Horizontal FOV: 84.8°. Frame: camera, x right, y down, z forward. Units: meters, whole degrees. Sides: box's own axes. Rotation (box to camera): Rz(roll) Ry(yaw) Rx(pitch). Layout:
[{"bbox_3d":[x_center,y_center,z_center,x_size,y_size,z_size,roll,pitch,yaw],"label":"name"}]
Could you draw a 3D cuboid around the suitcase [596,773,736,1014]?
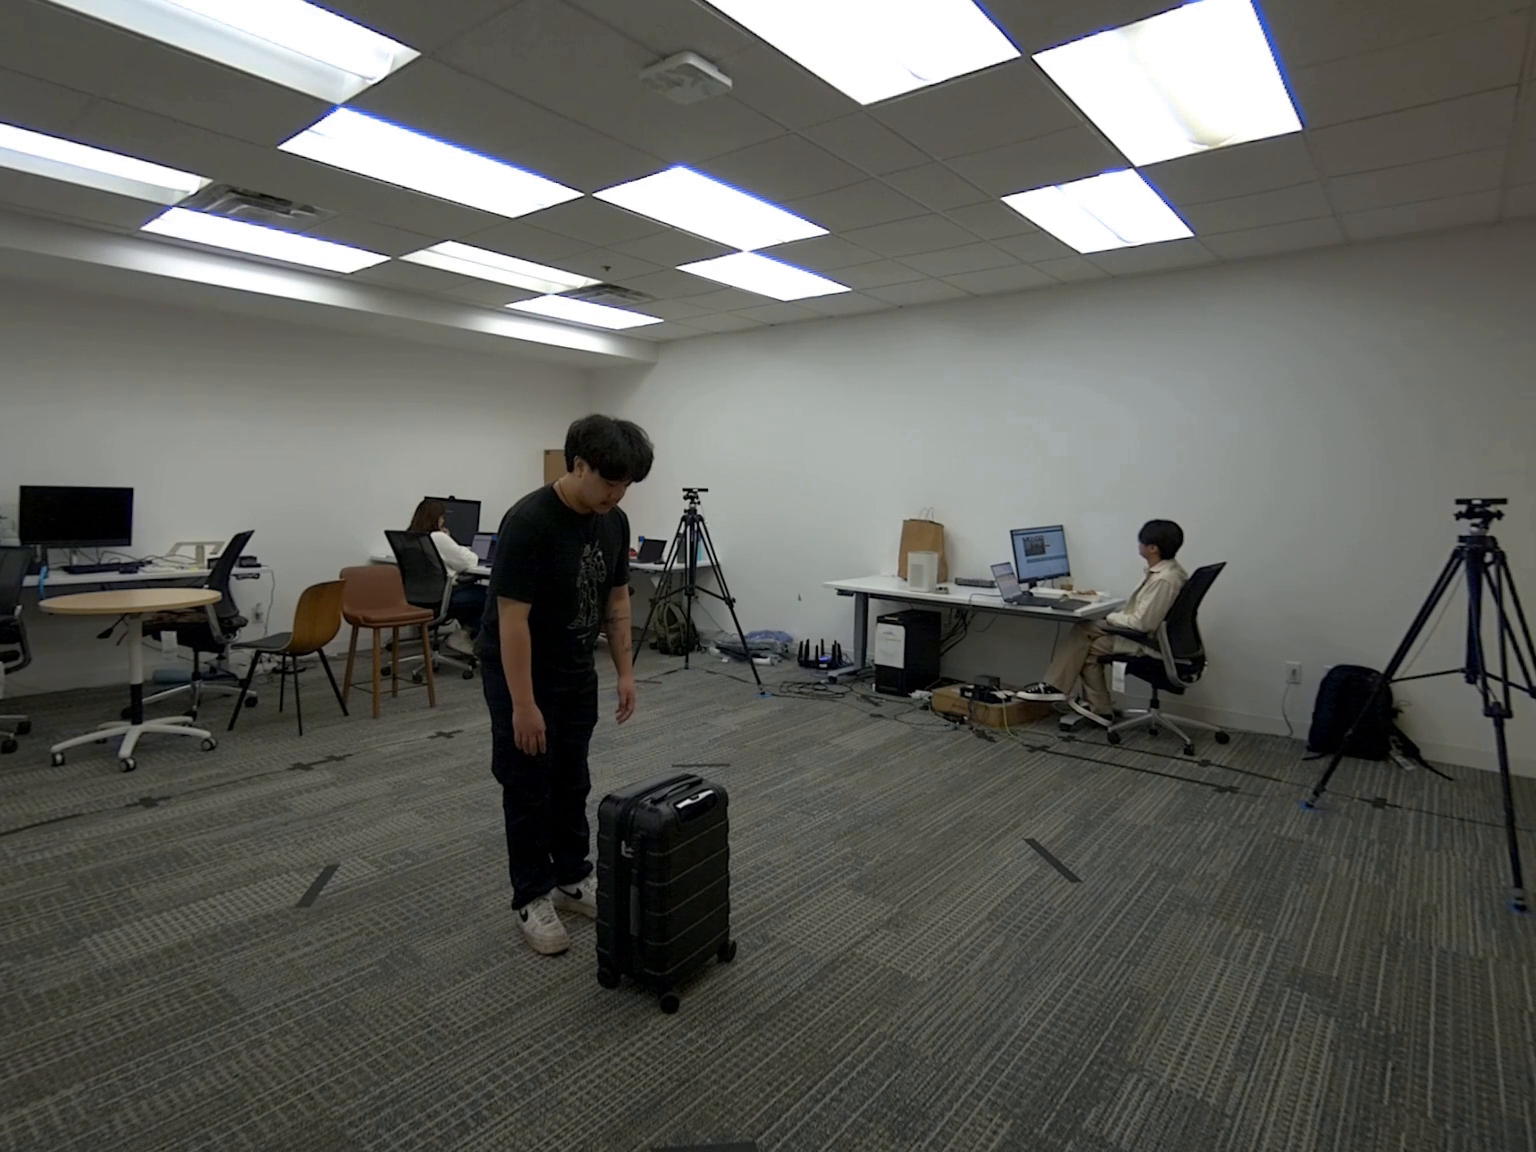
[{"bbox_3d":[-0.300,0.862,2.422,0.256,0.548,0.365,1,4,34],"label":"suitcase"}]
